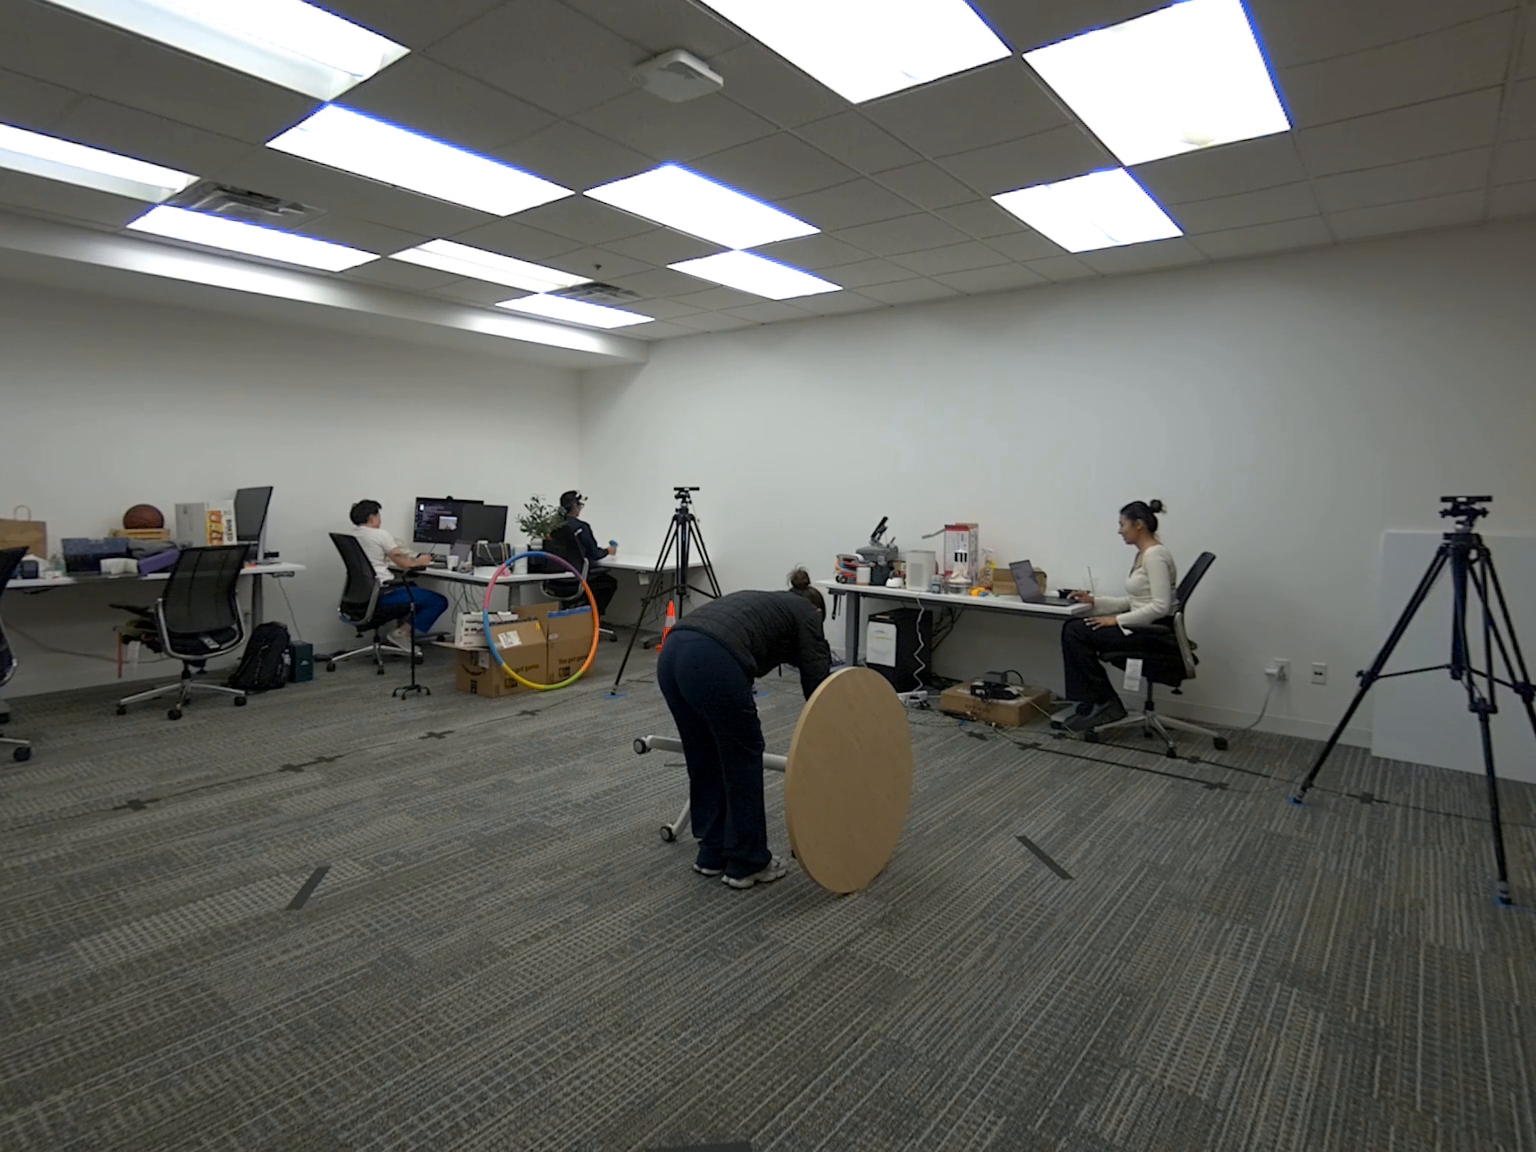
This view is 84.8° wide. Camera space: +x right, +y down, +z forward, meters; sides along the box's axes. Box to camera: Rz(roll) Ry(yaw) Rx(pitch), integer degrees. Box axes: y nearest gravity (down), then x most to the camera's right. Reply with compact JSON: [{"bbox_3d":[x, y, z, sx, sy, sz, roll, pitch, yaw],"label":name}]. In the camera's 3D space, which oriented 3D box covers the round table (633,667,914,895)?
[{"bbox_3d":[0.013,0.719,3.259,0.810,0.785,0.762,-3,1,41],"label":"round table"}]
